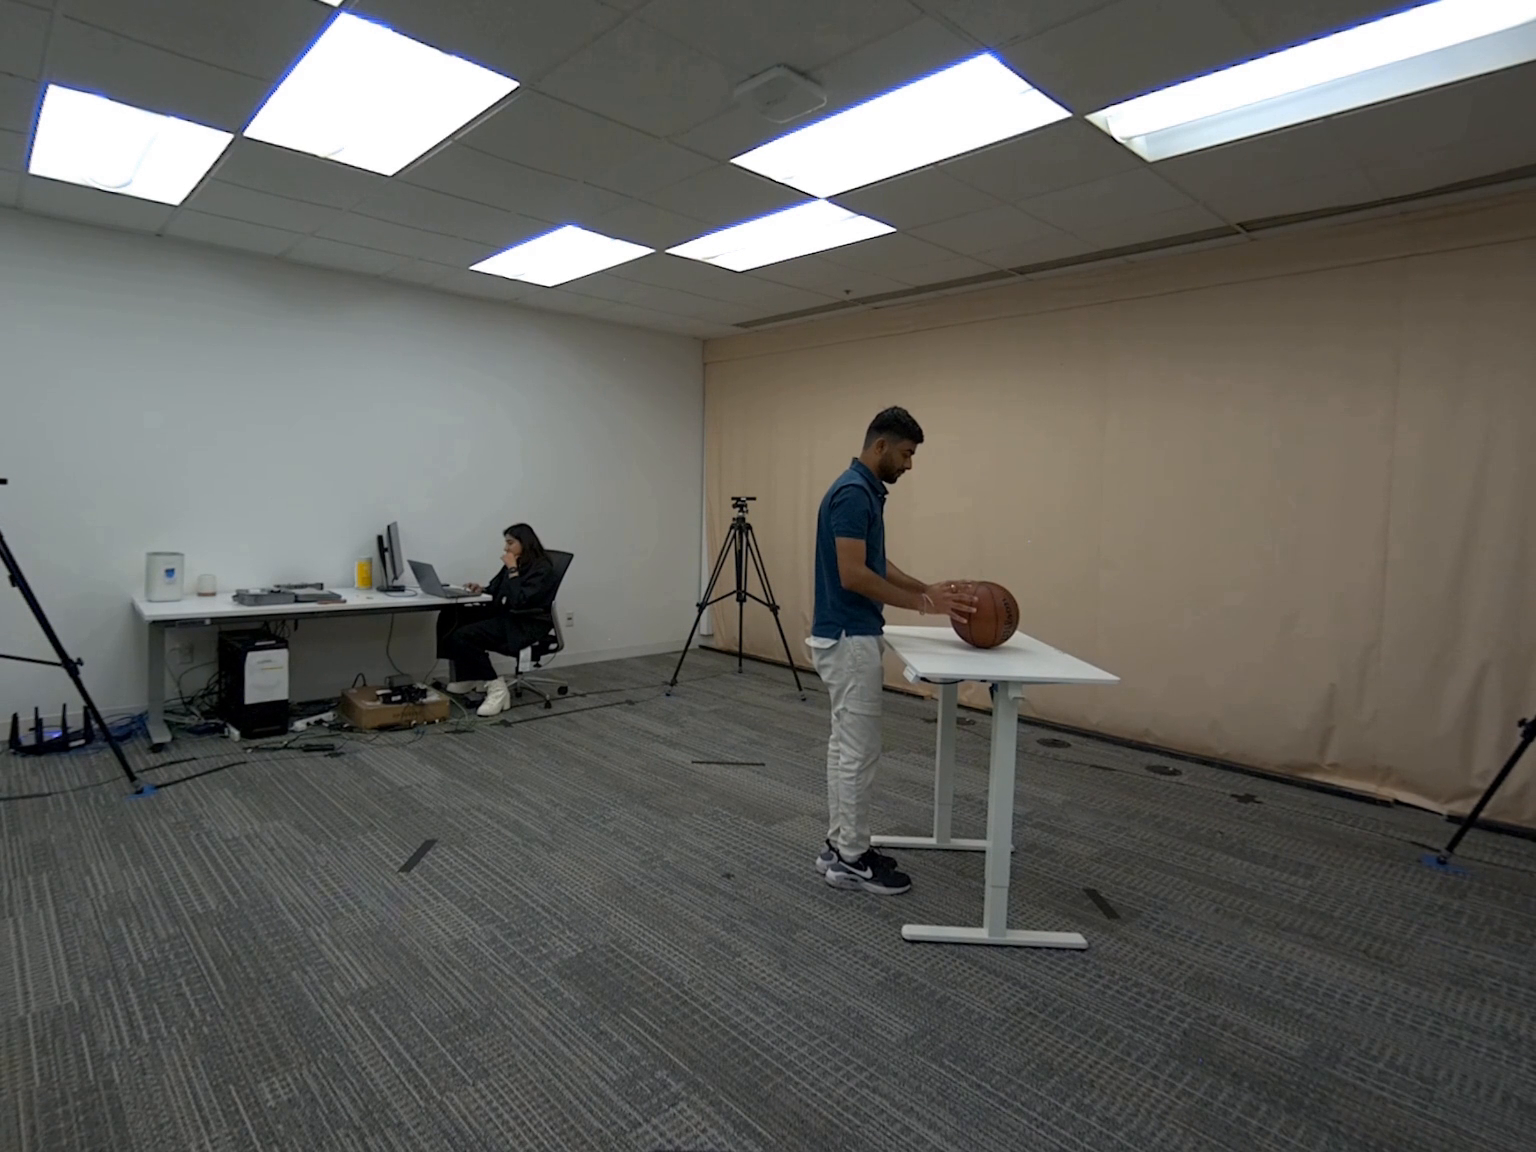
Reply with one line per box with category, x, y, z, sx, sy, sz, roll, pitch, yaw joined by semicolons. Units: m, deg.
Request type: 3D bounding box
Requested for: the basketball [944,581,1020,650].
basketball;0.768;0.138;3.017;0.236;0.235;0.237;1;4;-1
